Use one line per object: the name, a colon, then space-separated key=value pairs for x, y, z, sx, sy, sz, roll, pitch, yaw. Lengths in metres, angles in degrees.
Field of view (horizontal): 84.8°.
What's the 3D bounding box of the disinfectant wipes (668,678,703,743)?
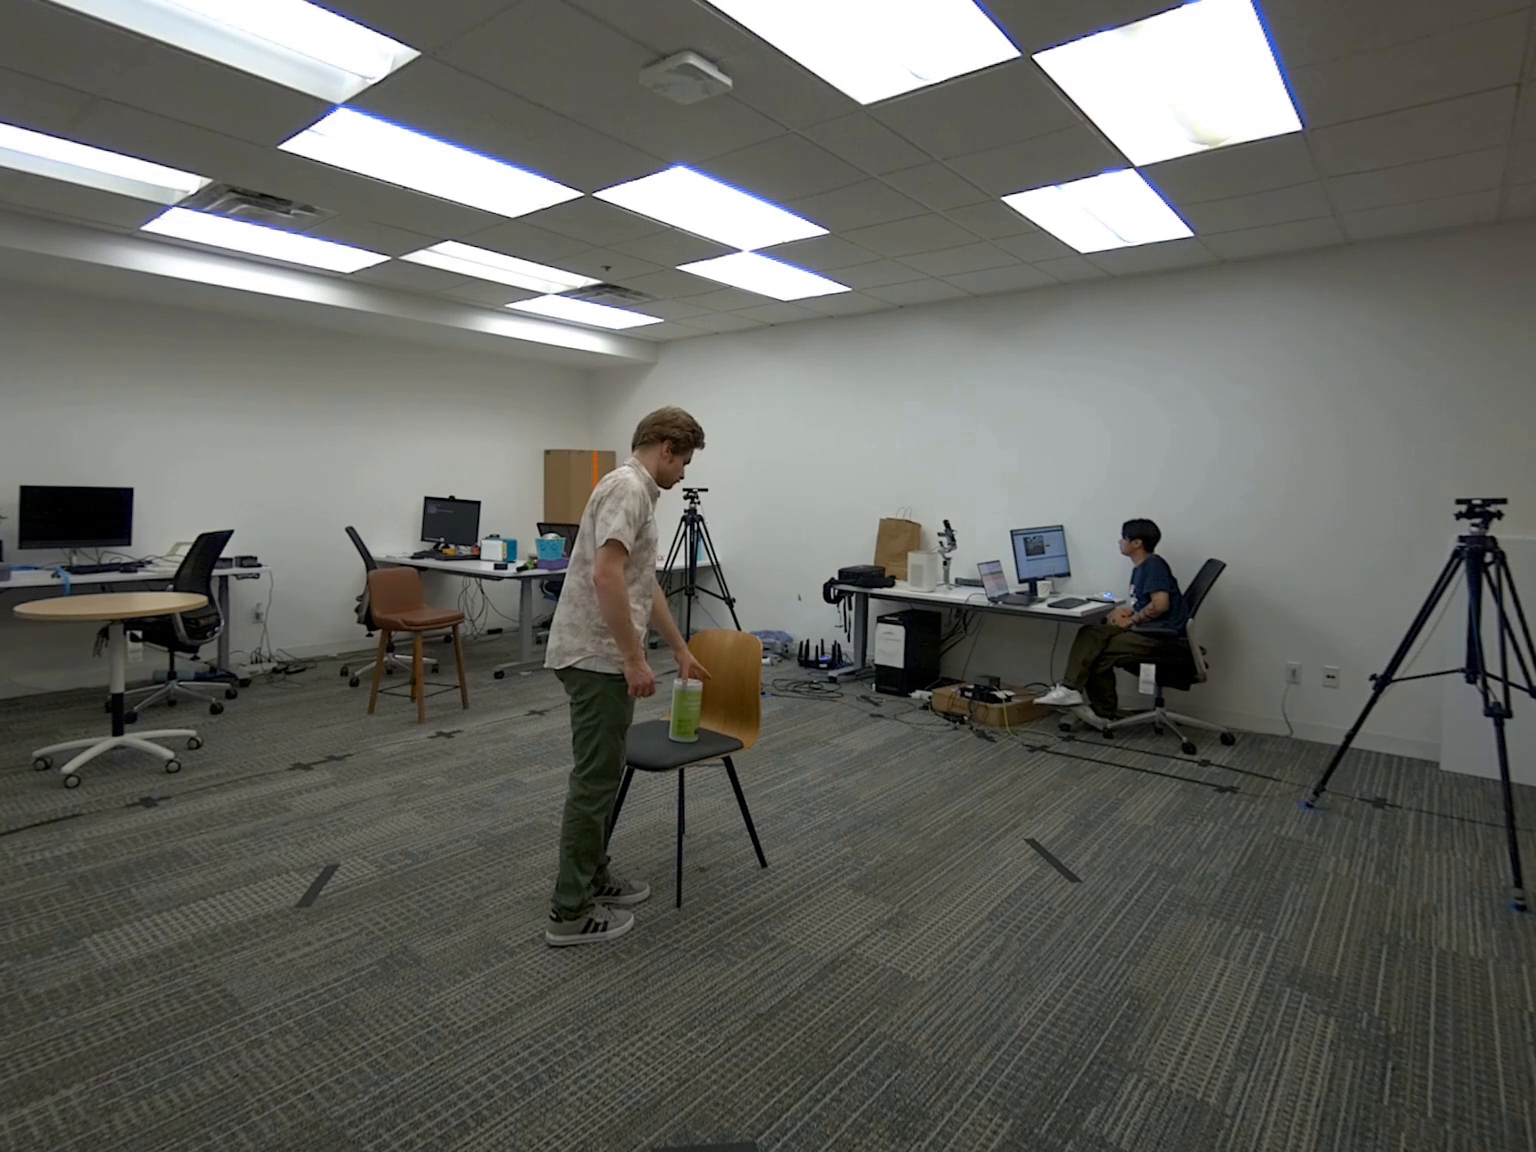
disinfectant wipes: x=-0.315 y=0.489 z=3.126 sx=0.117 sy=0.217 sz=0.118 roll=5 pitch=2 yaw=-2
